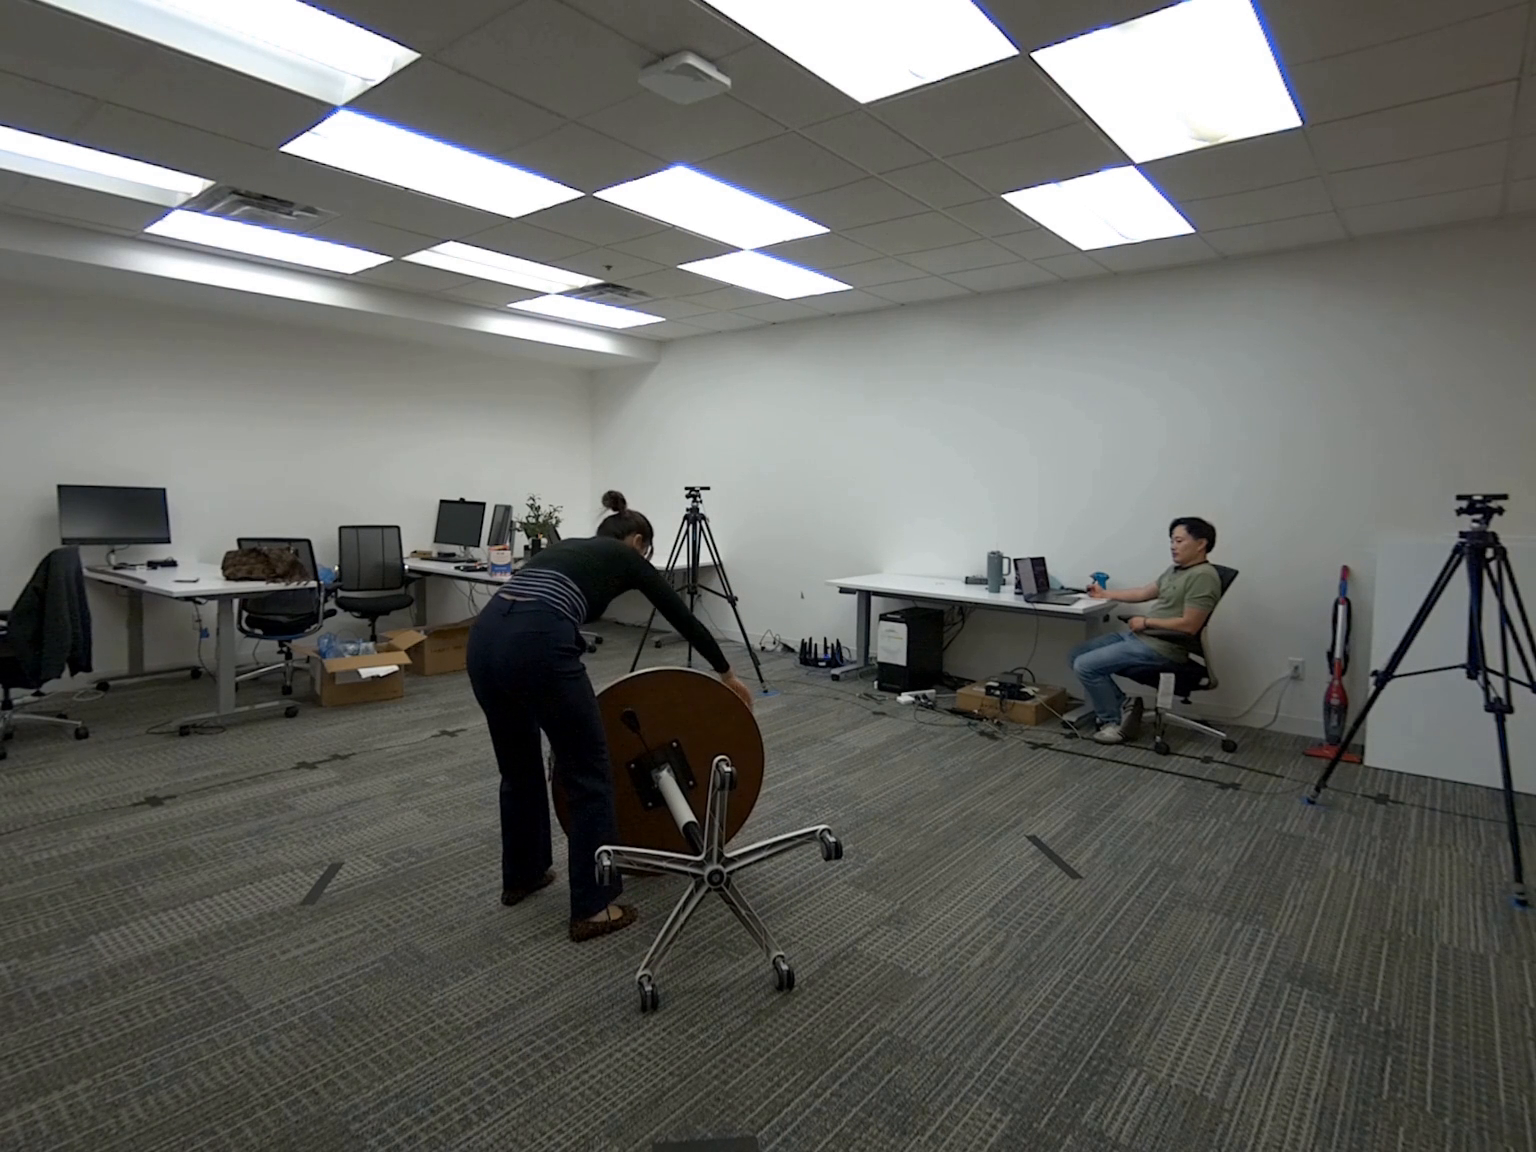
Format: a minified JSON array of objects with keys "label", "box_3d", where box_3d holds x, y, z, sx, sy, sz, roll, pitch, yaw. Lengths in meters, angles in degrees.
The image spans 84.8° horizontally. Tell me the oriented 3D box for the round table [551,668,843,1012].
[{"label":"round table","box_3d":[-0.251,0.776,2.630,0.750,0.757,0.816,-1,11,-18]}]
